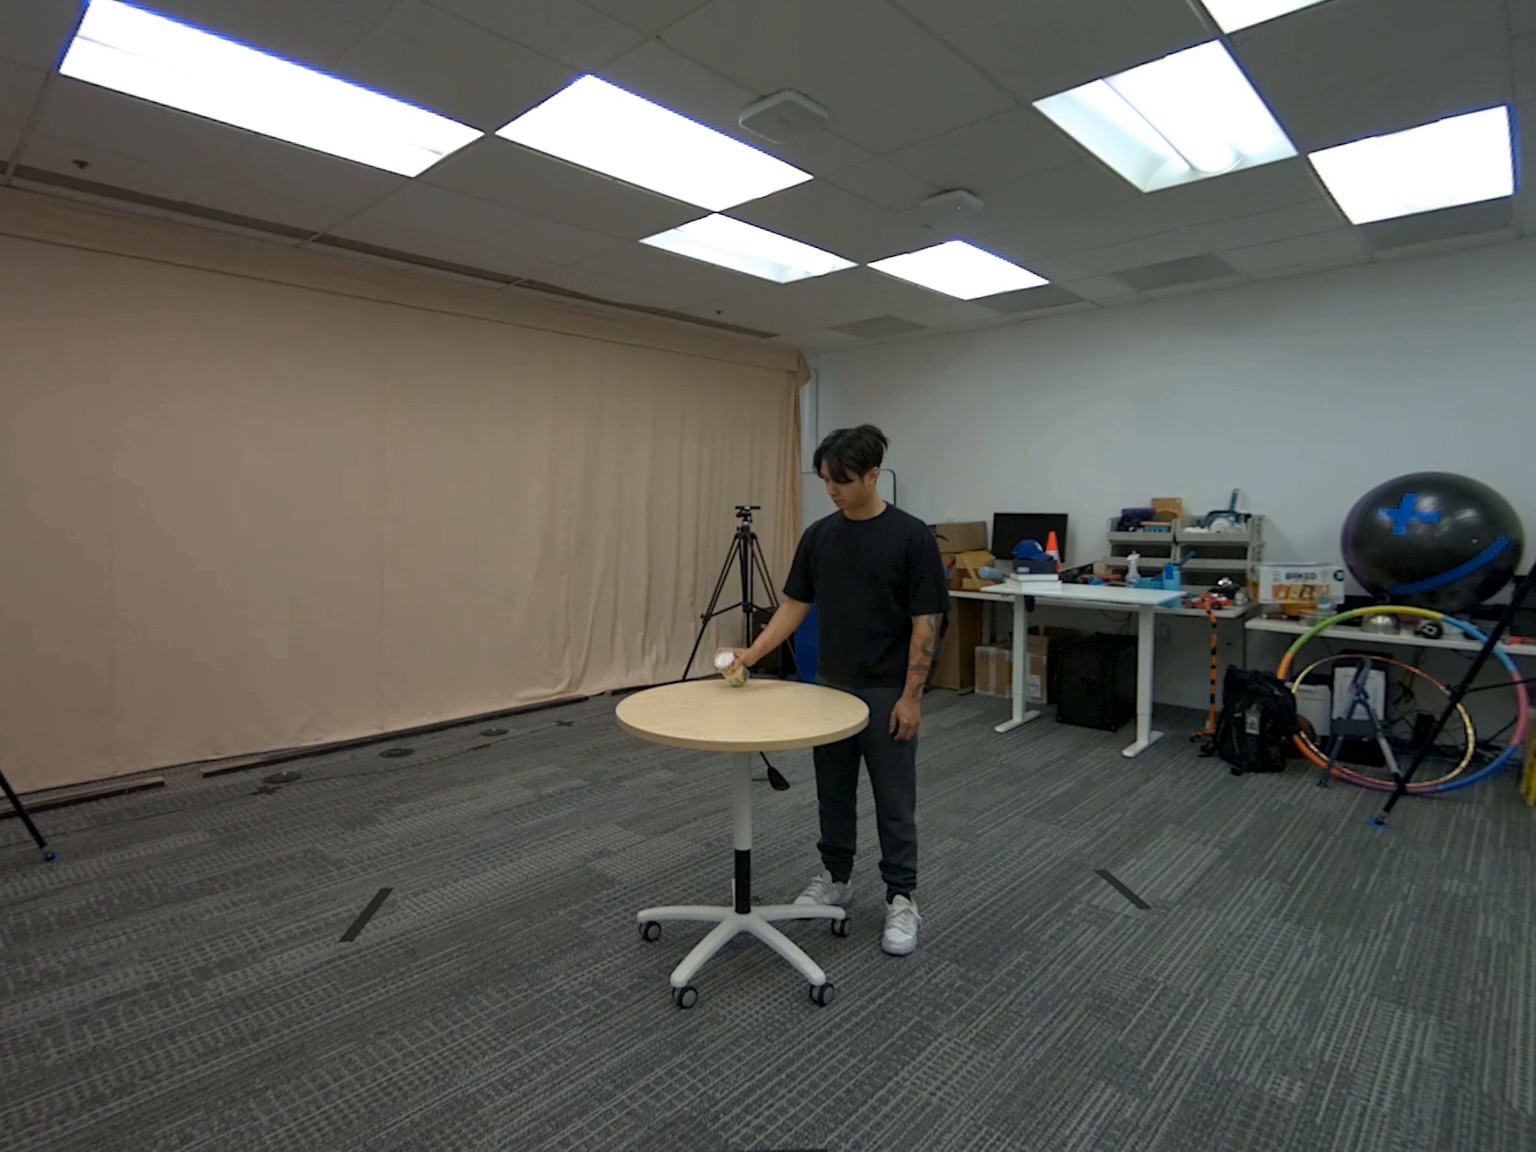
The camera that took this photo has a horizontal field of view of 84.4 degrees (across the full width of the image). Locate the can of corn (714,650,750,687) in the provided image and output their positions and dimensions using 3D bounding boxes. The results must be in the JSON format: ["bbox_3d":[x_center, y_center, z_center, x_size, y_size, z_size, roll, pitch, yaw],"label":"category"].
[{"bbox_3d":[-0.114,0.316,2.824,0.076,0.074,0.107,3,-37,36],"label":"can of corn"}]
